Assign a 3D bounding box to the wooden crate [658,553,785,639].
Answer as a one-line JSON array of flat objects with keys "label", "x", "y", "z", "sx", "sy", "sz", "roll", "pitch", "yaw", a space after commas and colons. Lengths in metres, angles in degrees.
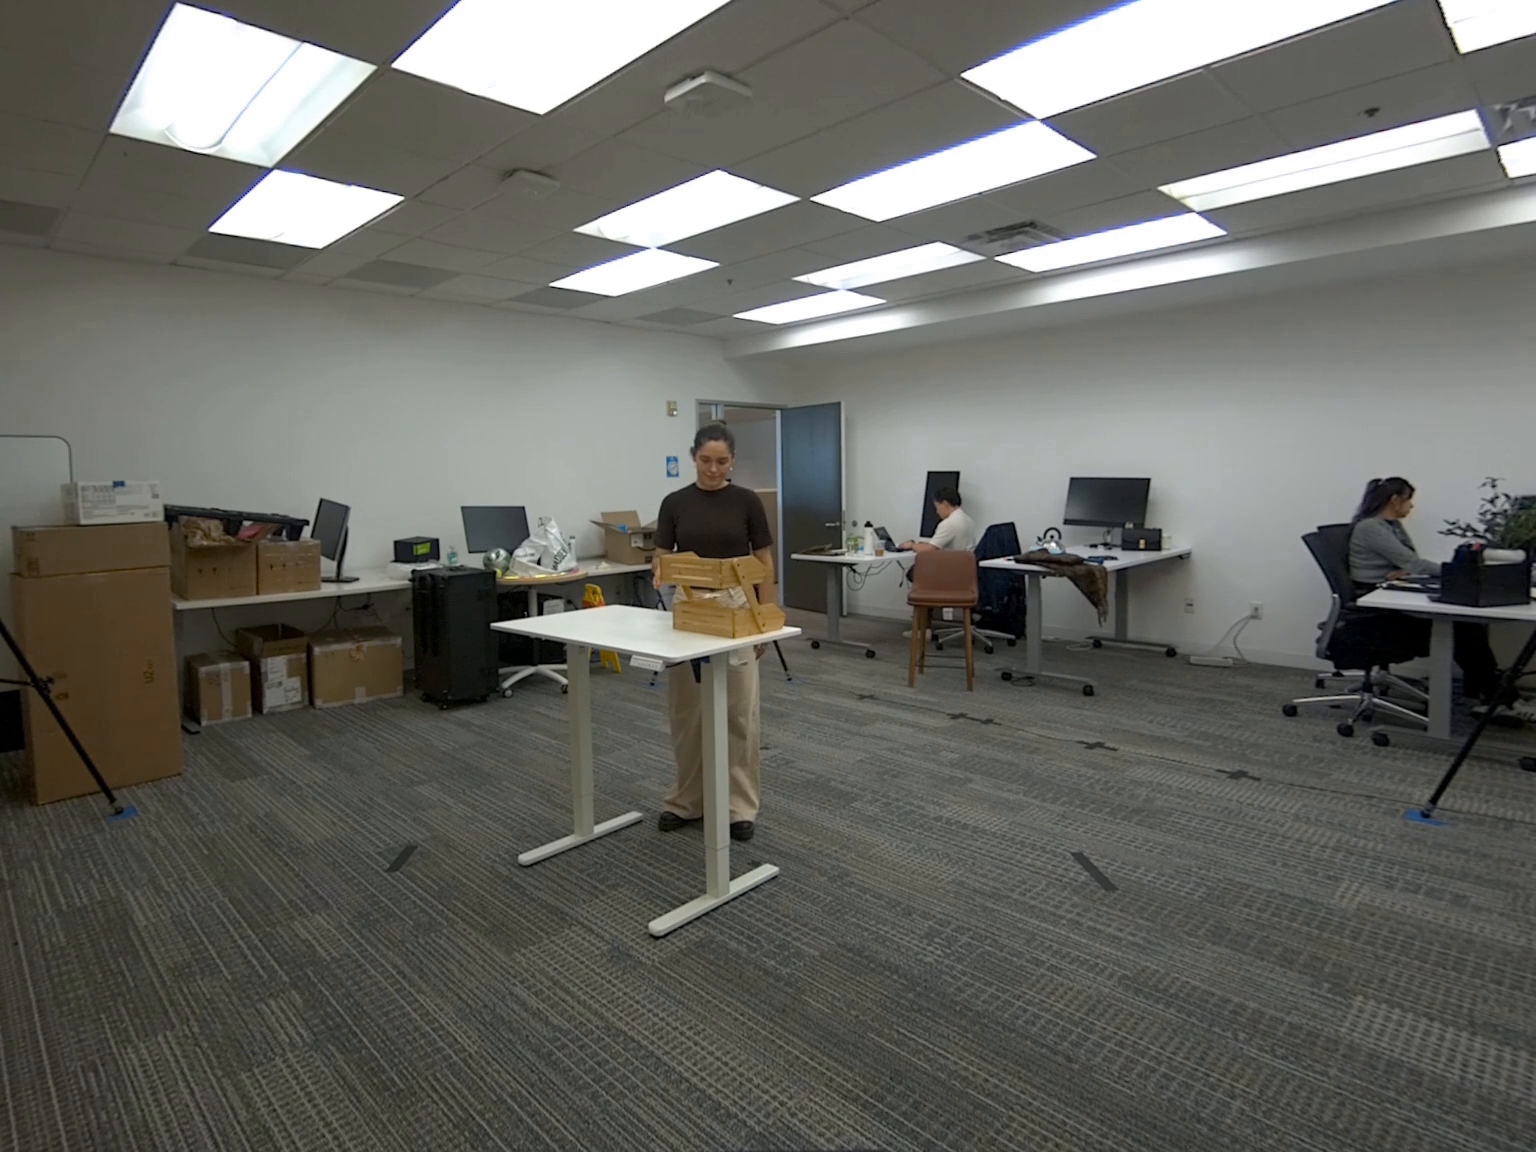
[{"label": "wooden crate", "x": -0.156, "y": 0.054, "z": 2.909, "sx": 0.334, "sy": 0.272, "sz": 0.294, "roll": 4, "pitch": 8, "yaw": 45}]
